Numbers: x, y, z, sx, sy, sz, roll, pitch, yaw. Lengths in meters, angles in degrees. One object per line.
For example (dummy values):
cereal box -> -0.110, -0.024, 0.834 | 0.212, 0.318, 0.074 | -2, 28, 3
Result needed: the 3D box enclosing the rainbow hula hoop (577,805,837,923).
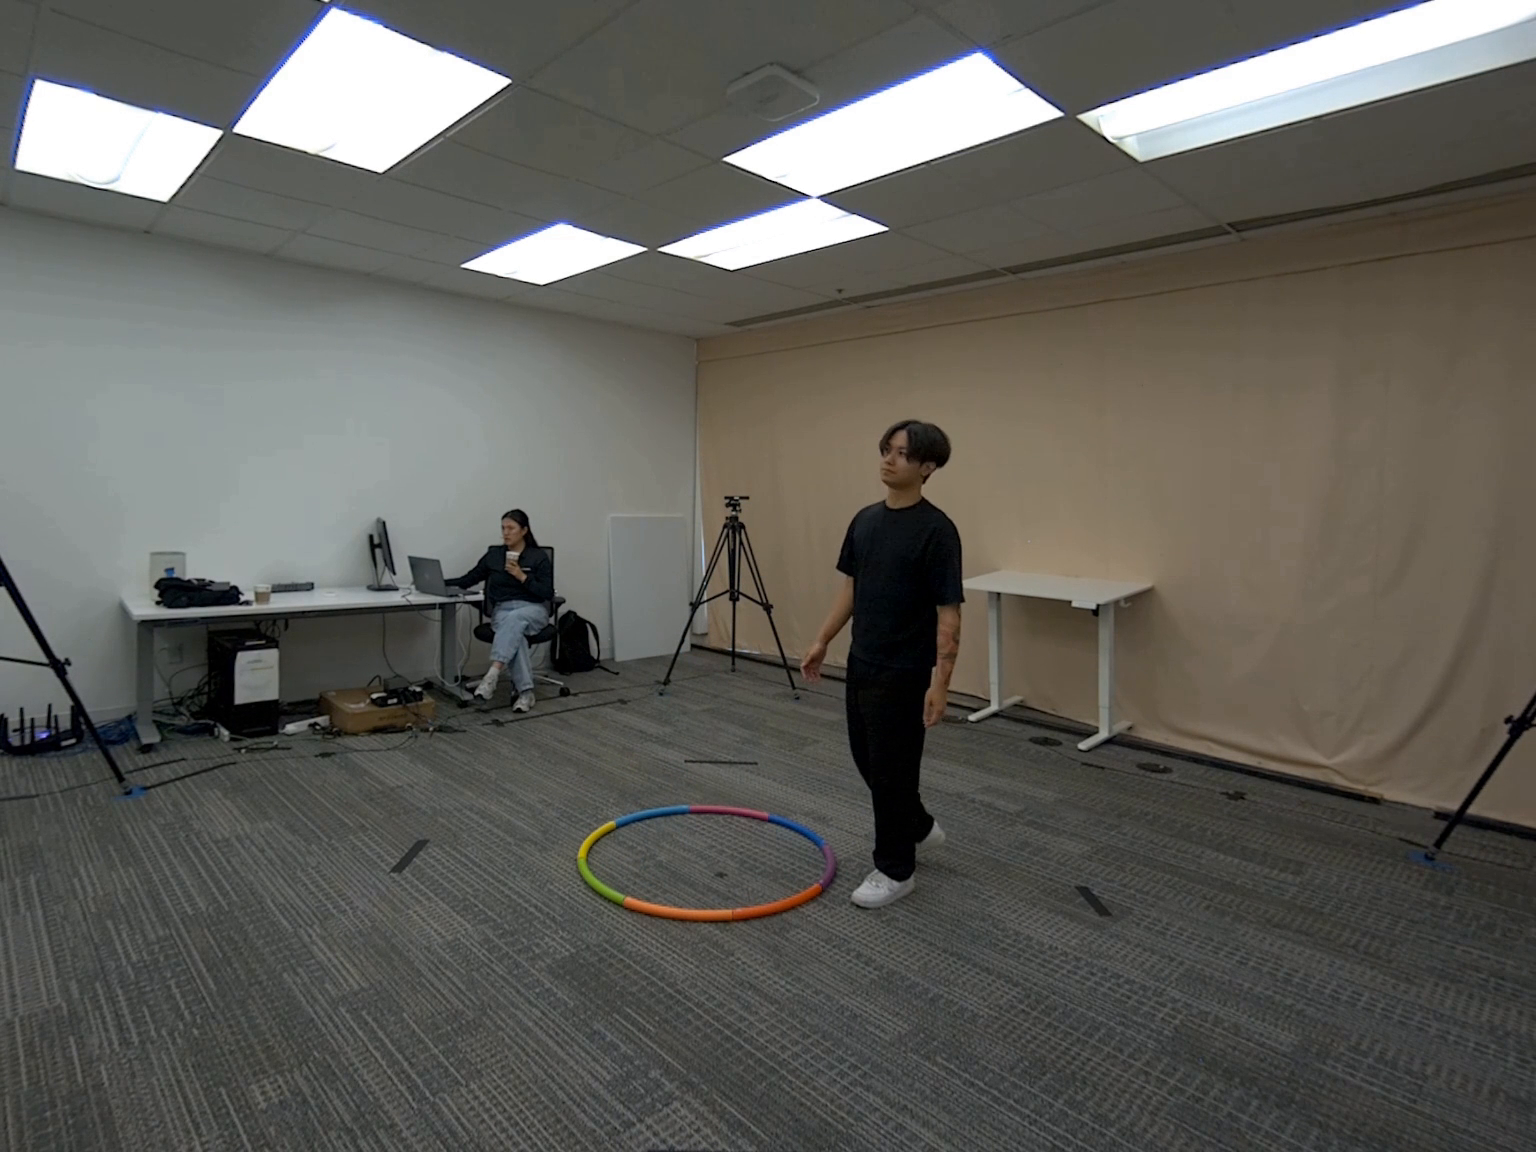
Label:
rainbow hula hoop -> -0.238, 1.059, 3.237 | 0.978, 0.035, 0.982 | 1, 5, -1
